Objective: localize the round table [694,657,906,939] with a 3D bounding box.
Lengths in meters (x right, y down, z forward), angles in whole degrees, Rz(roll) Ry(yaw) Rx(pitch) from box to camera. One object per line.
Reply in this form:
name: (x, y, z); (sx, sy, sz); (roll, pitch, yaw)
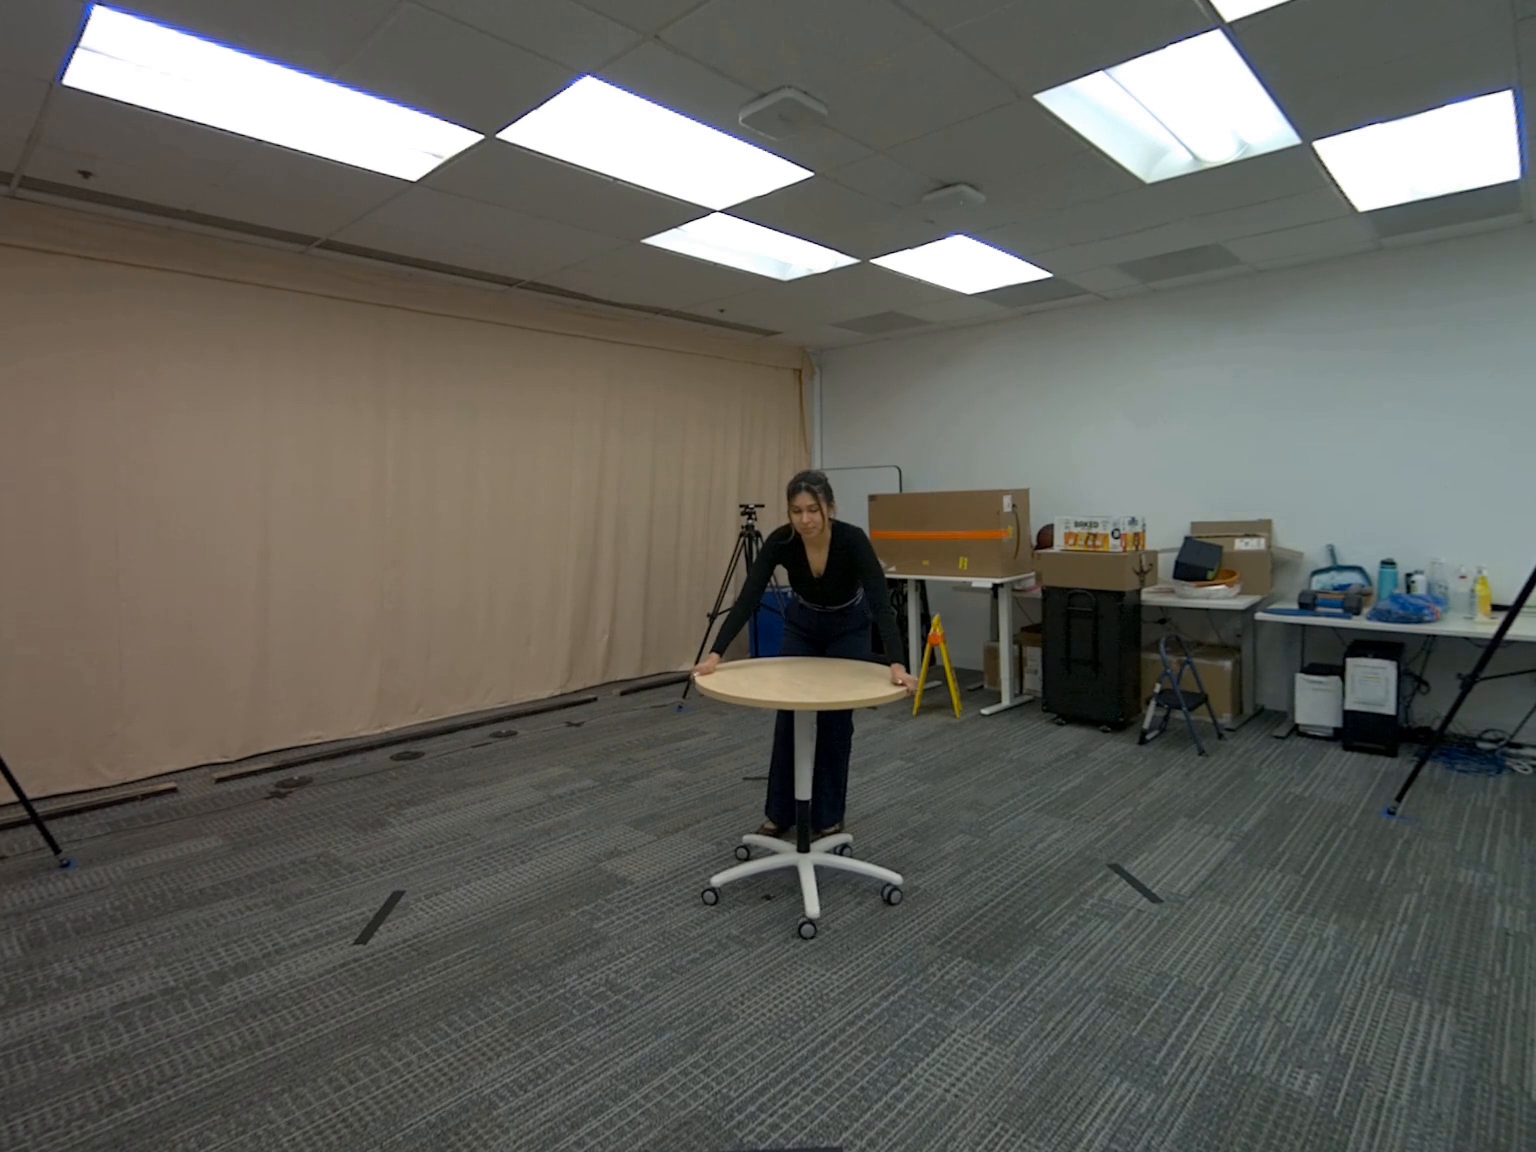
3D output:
round table: (0.123, 0.748, 3.016); (0.763, 0.792, 0.767); (0, 4, -2)
